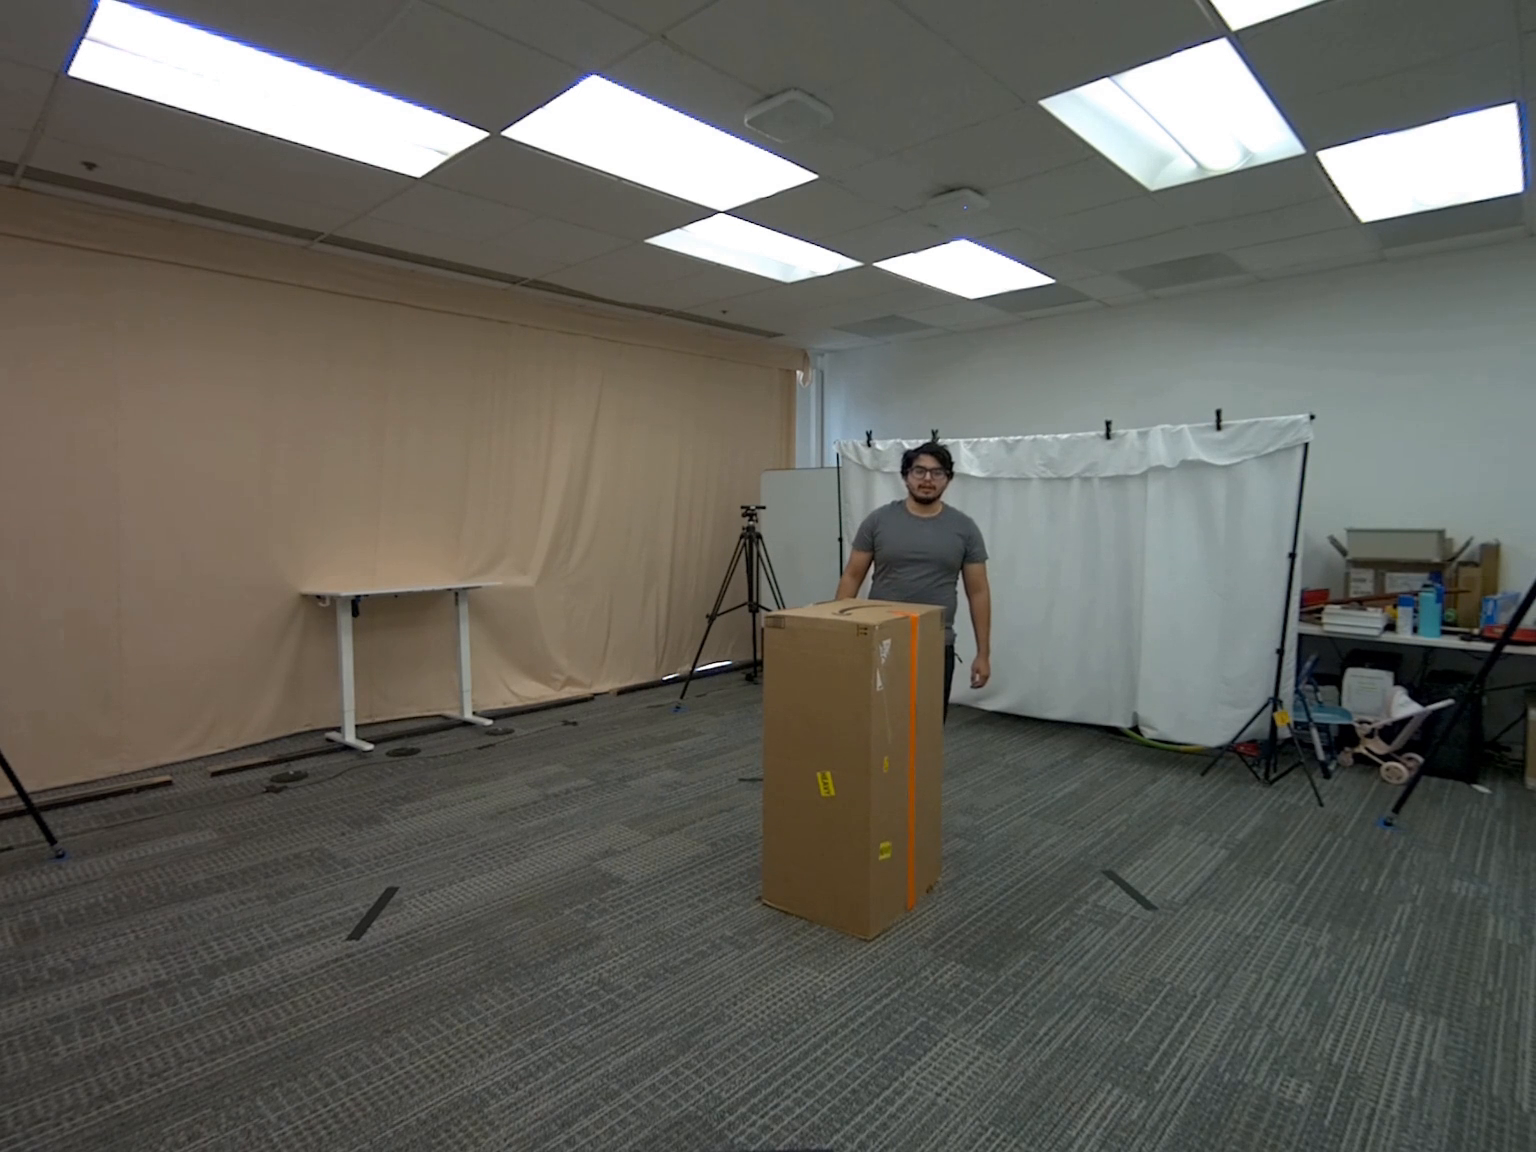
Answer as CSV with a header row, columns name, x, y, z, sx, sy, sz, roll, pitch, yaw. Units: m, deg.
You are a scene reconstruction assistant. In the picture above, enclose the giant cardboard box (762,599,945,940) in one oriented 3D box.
name,x,y,z,sx,sy,sz,roll,pitch,yaw
giant cardboard box,0.318,0.636,3.007,0.461,1.025,0.567,1,3,36
